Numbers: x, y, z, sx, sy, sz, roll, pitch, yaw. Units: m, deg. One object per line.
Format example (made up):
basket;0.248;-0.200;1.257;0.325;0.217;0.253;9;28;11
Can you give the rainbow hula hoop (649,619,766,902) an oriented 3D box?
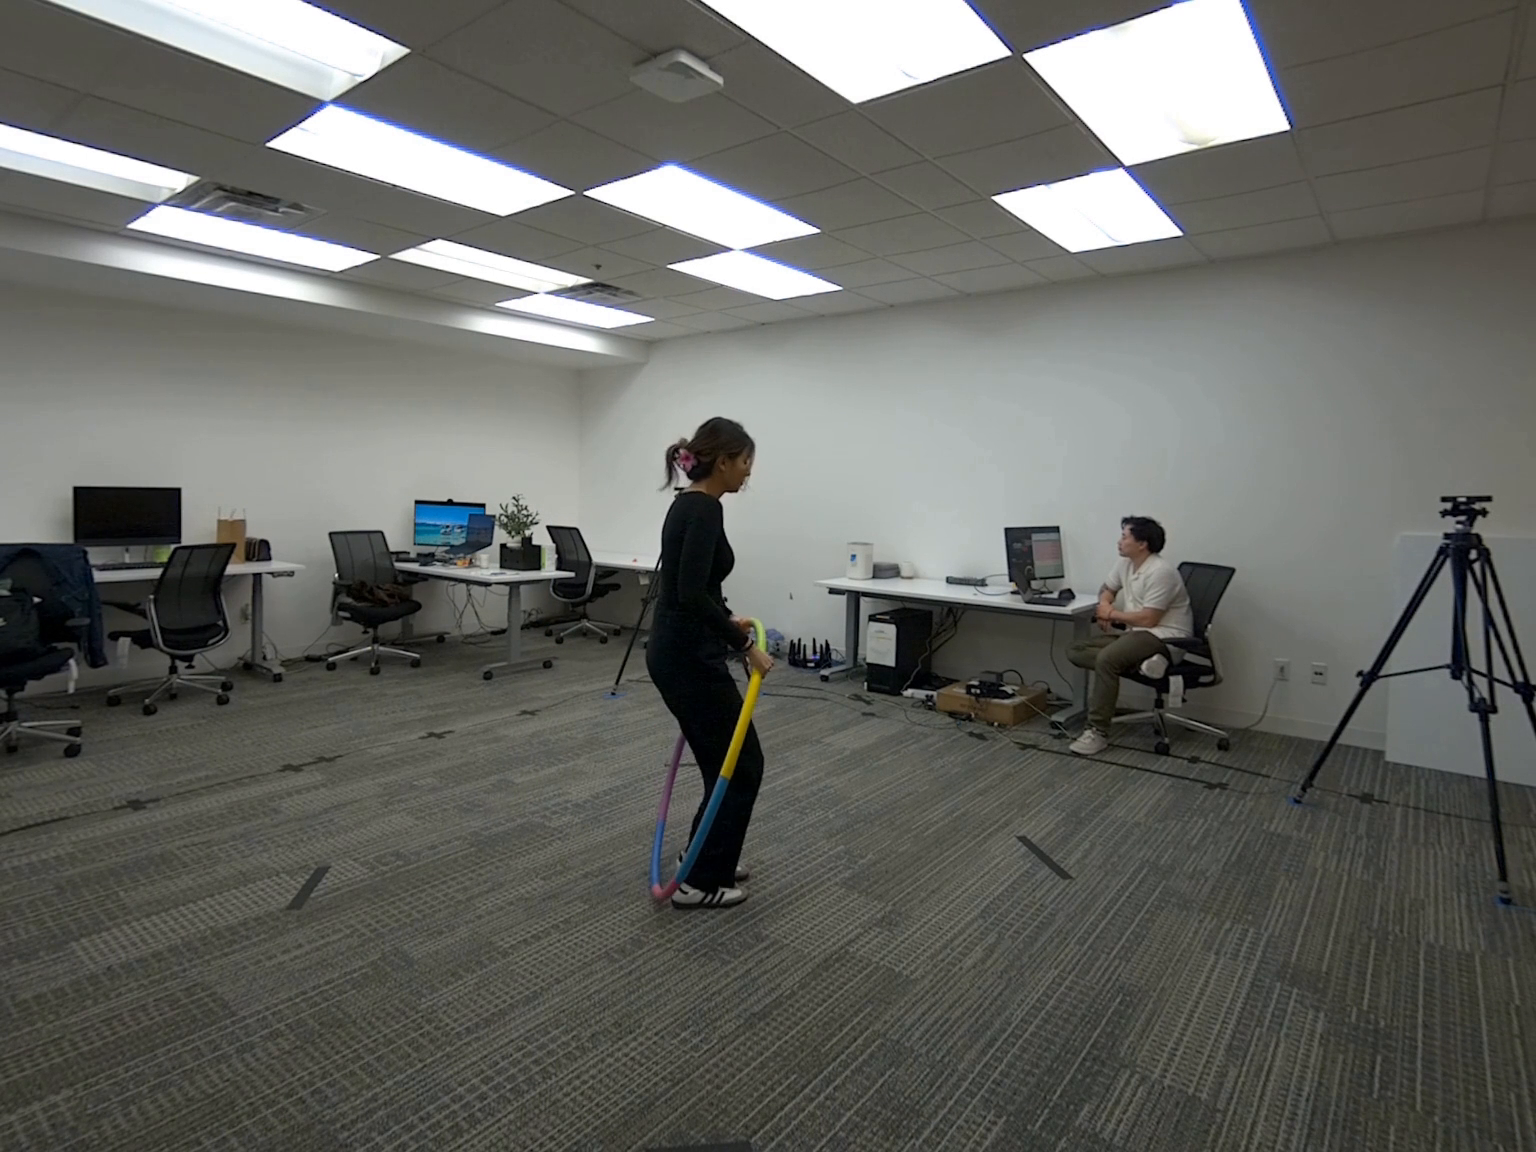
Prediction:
rainbow hula hoop;-0.233;0.596;2.952;0.035;0.978;0.991;21;1;-11
